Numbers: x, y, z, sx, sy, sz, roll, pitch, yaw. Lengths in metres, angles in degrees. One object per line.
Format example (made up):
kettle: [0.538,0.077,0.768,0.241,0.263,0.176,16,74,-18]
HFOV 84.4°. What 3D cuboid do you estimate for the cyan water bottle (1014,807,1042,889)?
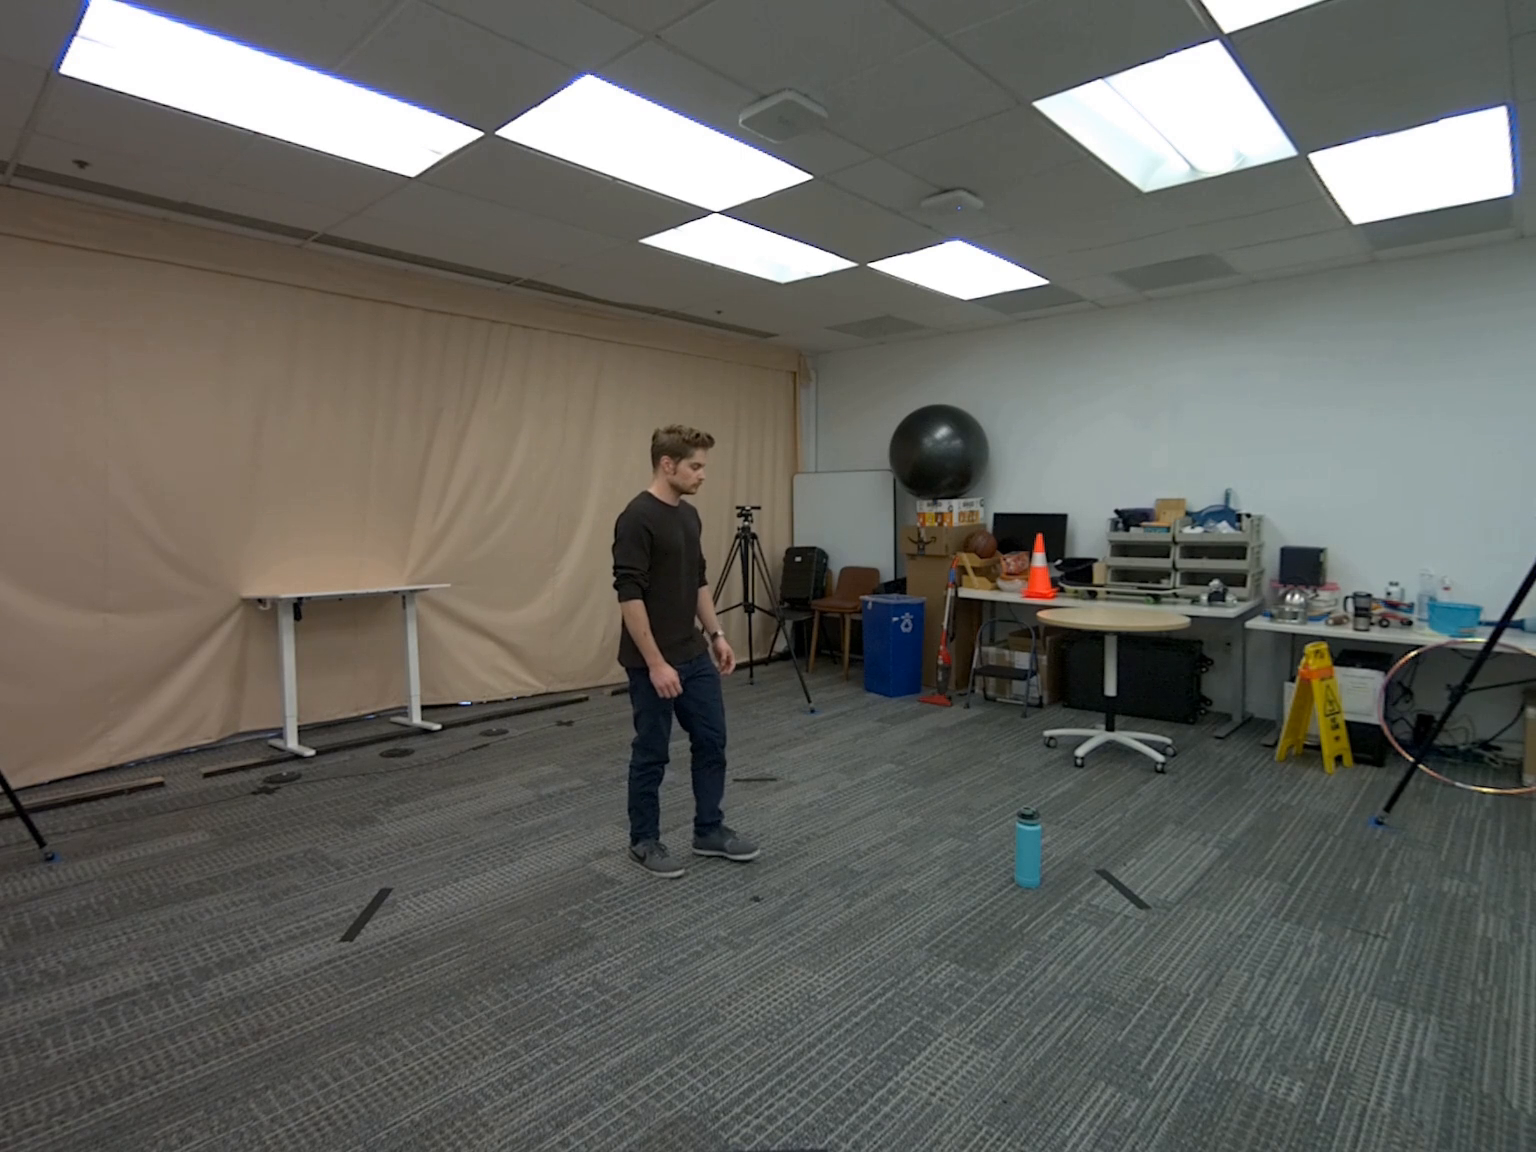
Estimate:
cyan water bottle: [0.970,0.996,3.099,0.092,0.283,0.092,2,2,-2]
